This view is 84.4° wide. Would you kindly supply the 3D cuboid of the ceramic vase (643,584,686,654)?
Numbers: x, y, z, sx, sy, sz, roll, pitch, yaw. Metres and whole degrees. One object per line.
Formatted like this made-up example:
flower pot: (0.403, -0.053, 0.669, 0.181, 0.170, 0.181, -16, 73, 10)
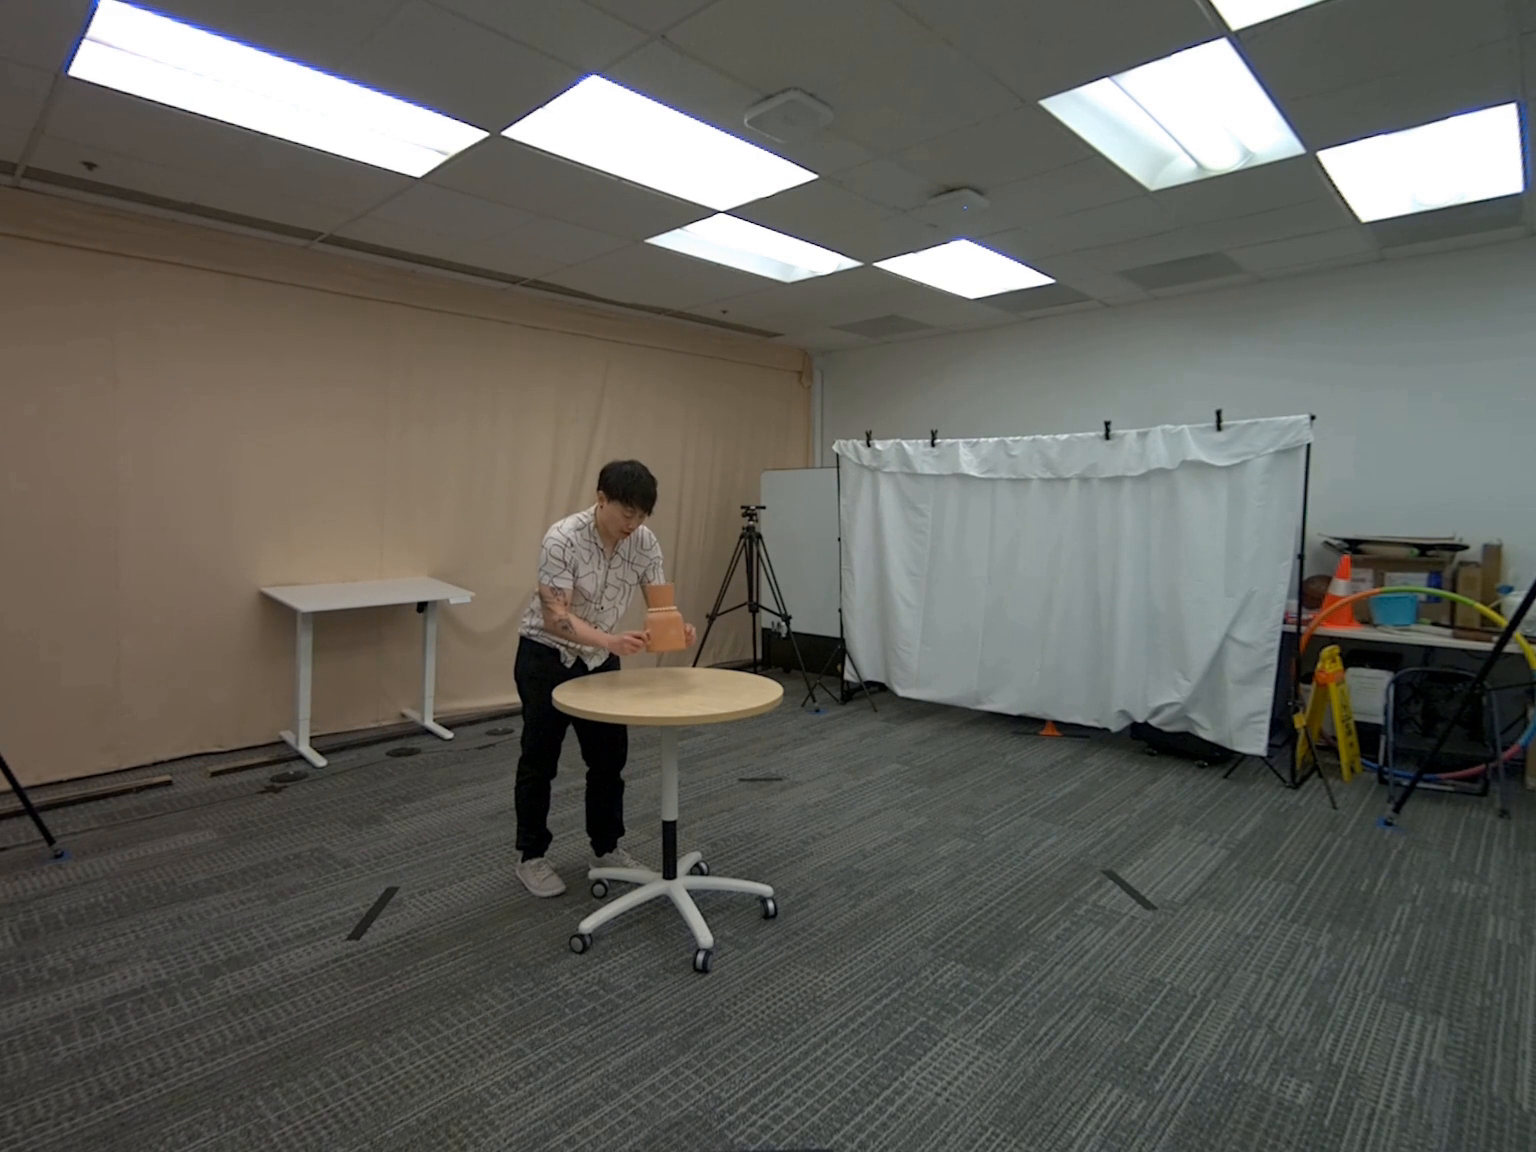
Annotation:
ceramic vase: (-0.360, 0.141, 2.807, 0.136, 0.220, 0.157, -4, -3, 8)
